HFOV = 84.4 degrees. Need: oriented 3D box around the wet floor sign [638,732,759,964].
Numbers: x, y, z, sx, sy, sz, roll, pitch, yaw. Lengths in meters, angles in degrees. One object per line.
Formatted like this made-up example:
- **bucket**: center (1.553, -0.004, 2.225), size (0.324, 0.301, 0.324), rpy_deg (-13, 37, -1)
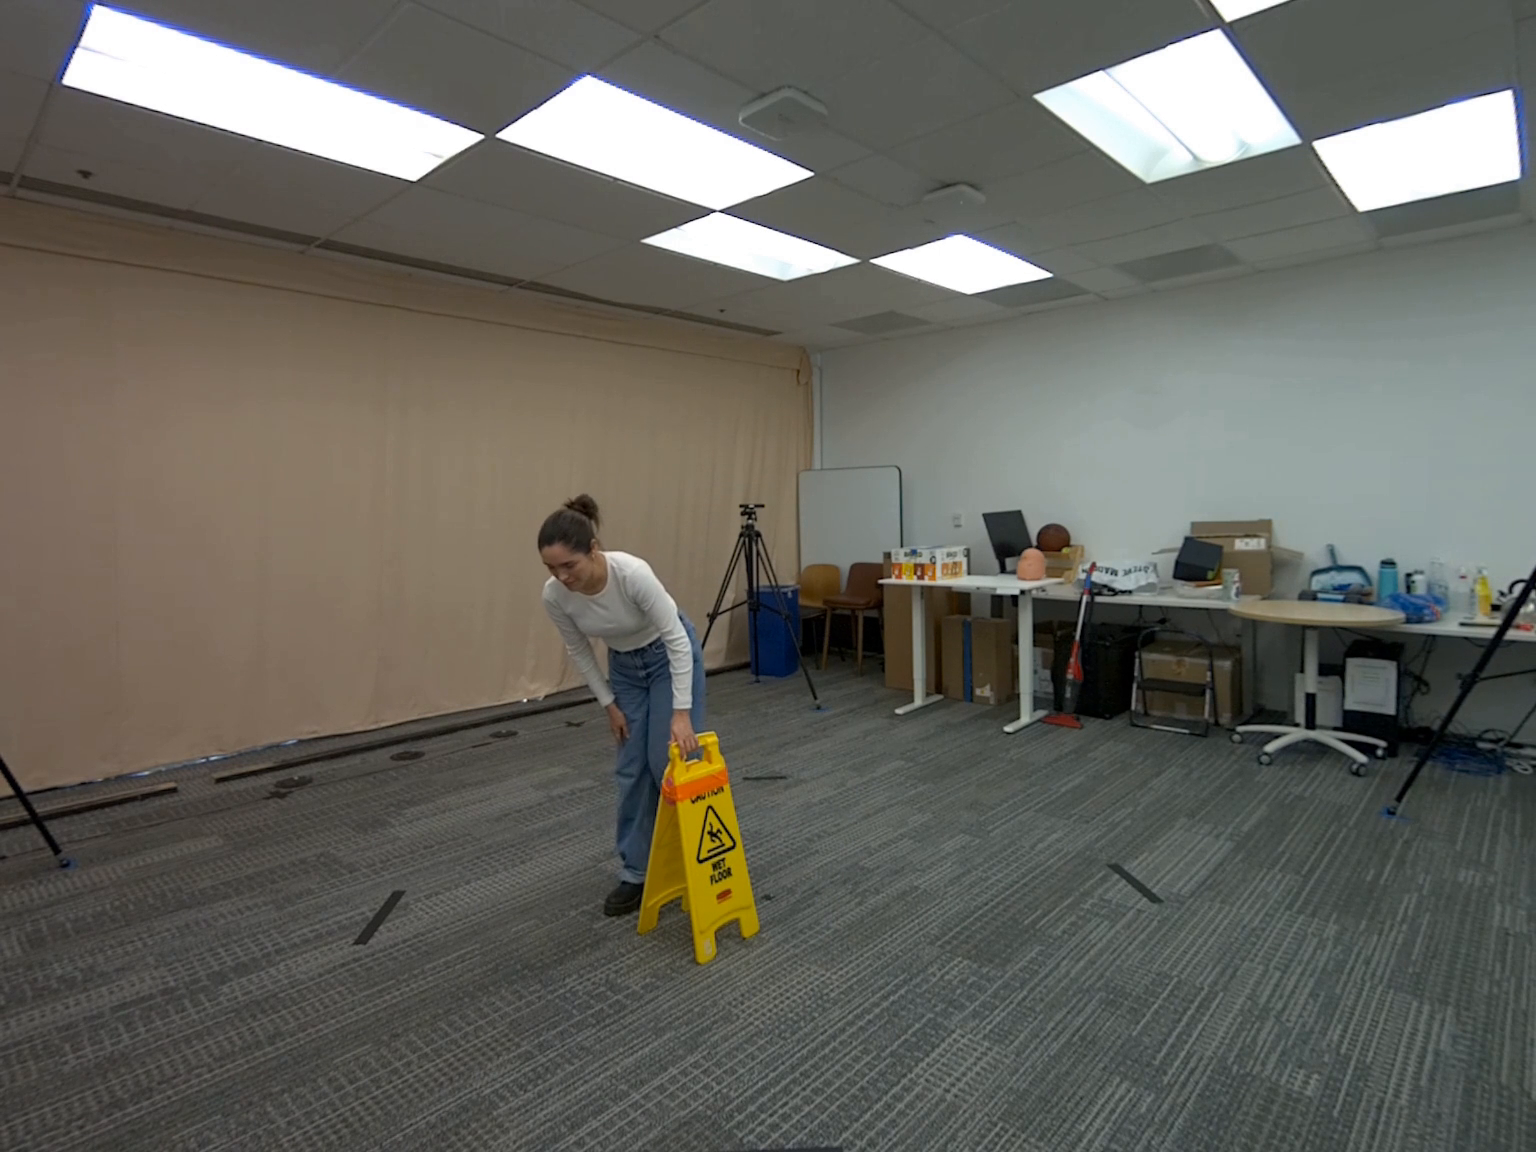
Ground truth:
- **wet floor sign**: center (-0.232, 0.843, 2.732), size (0.299, 0.645, 0.274), rpy_deg (1, 3, 41)
